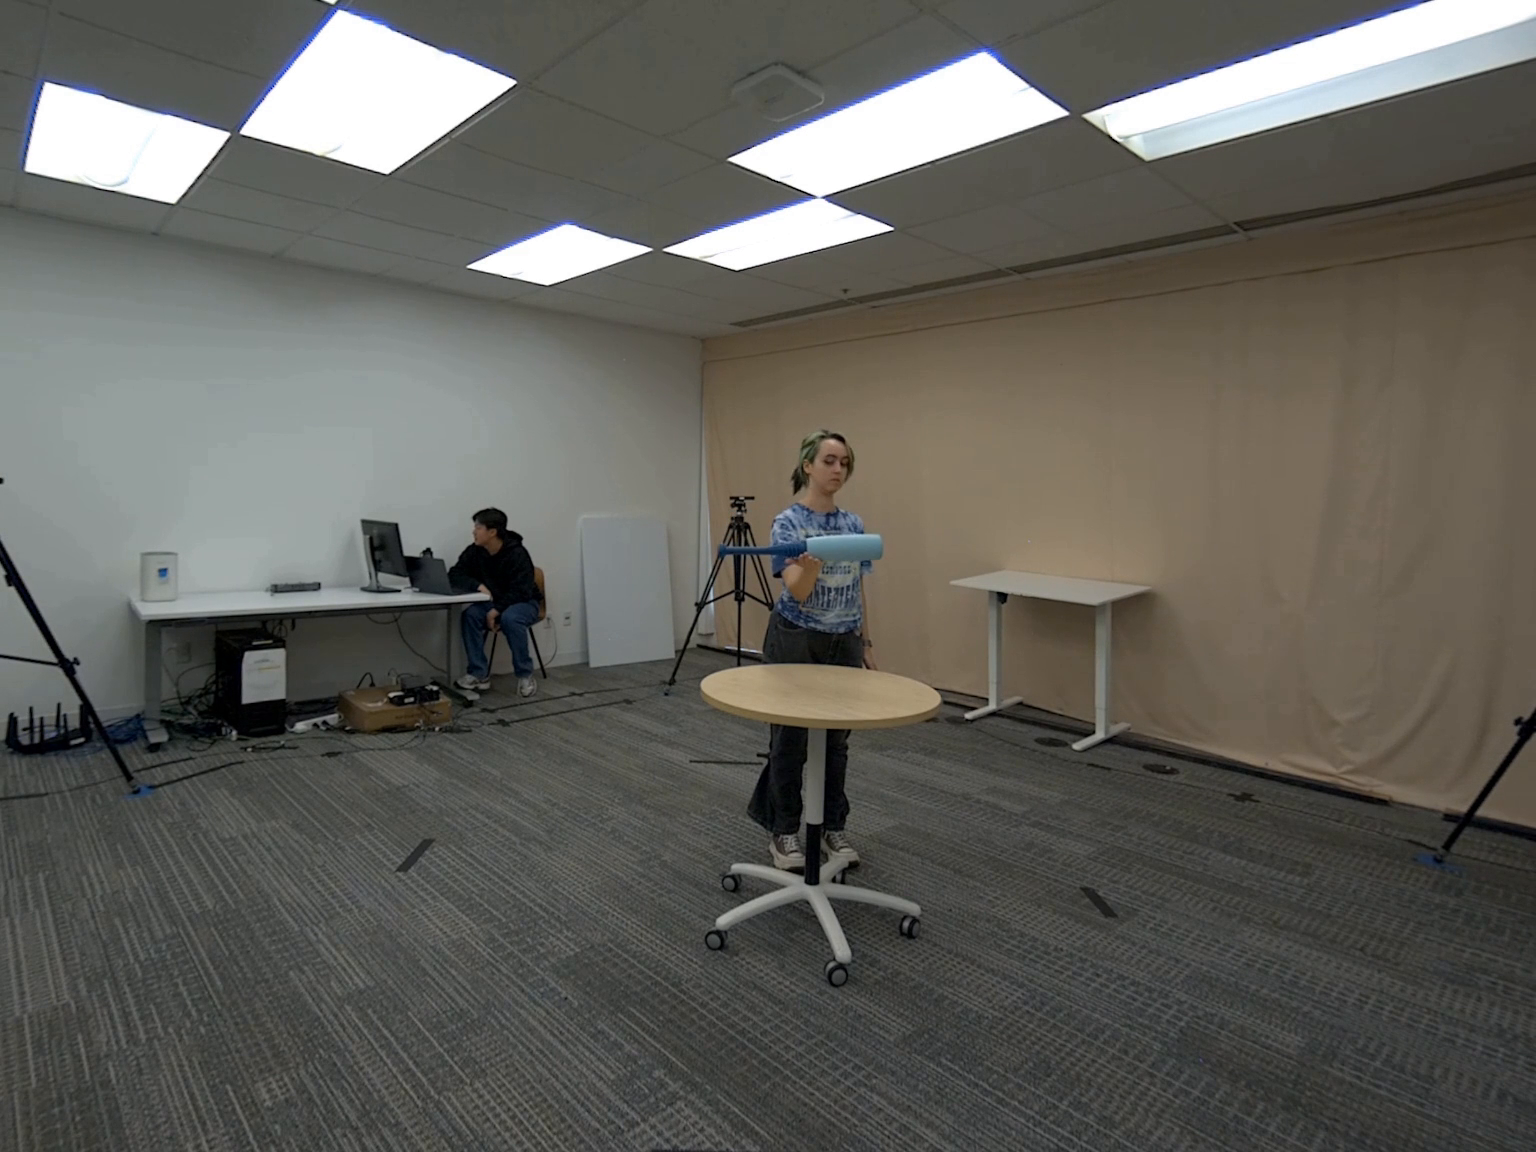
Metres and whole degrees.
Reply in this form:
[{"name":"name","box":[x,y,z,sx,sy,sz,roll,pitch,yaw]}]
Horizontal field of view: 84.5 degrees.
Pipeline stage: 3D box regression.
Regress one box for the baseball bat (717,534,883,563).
[{"name":"baseball bat","box":[0.098,-0.086,2.761,0.544,0.089,0.089,0,4,1]}]
